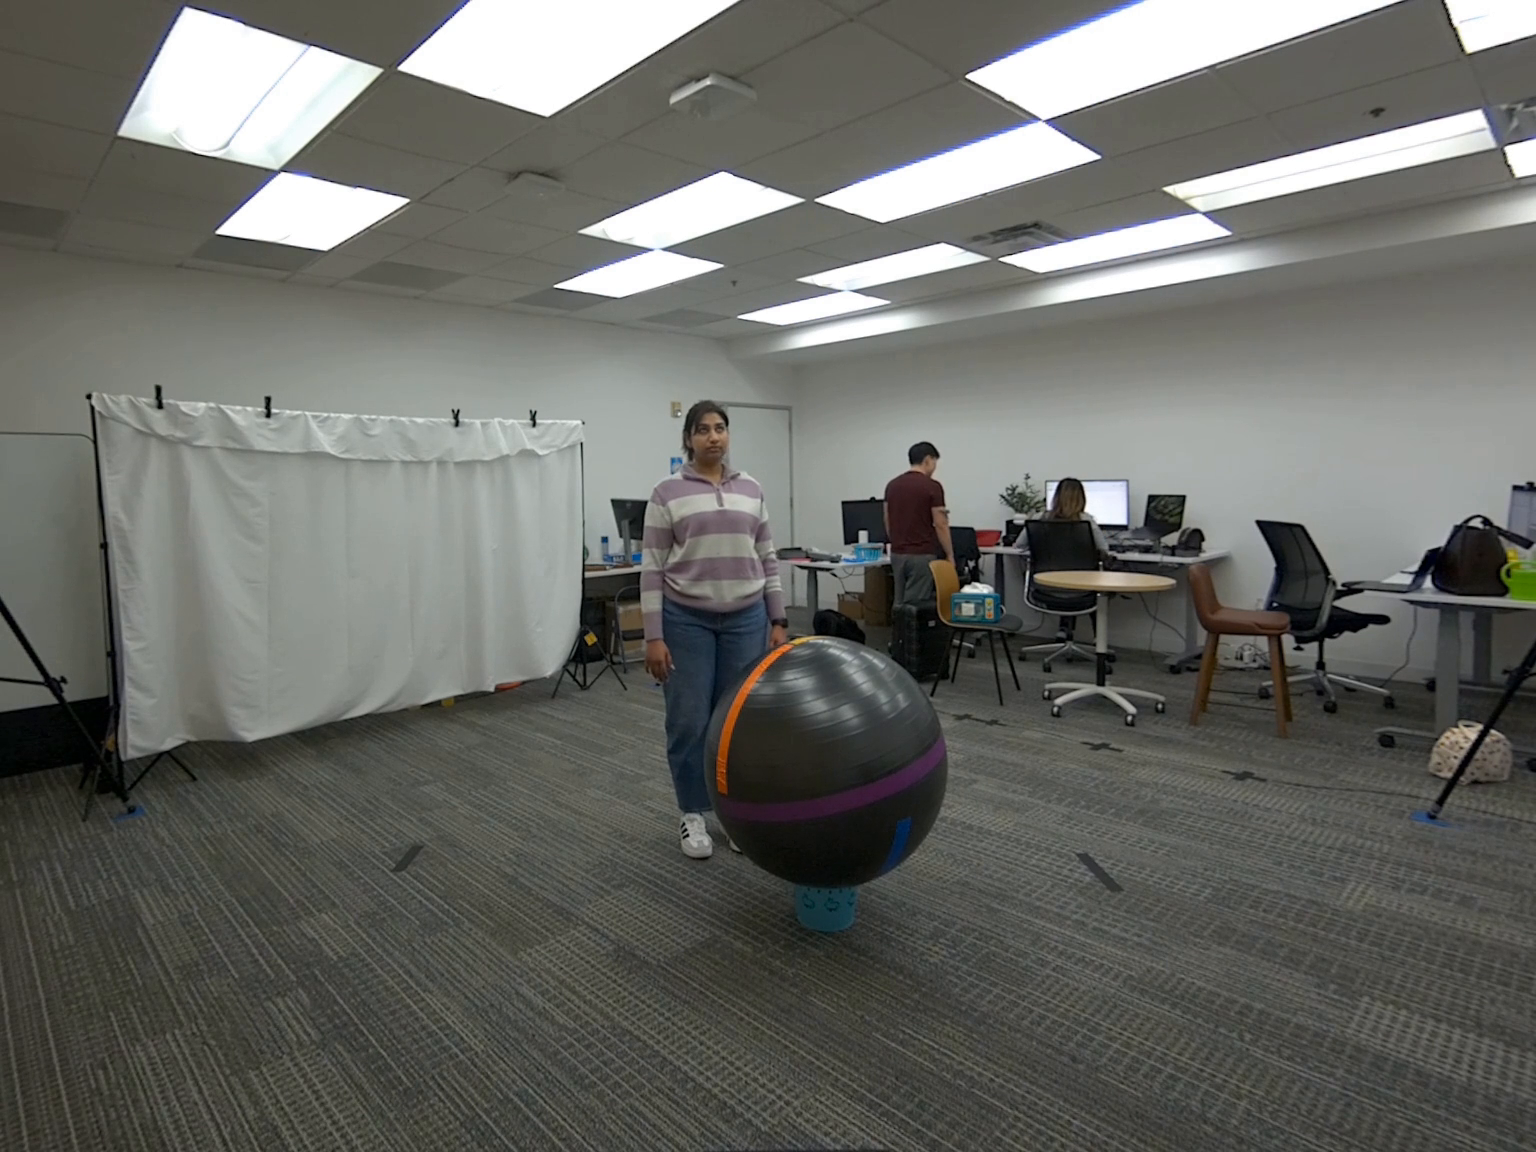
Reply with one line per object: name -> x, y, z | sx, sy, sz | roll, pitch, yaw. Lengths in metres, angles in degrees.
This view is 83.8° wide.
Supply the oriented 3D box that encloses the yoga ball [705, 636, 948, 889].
yoga ball -> 0.188, 0.583, 2.672 | 0.757, 0.755, 0.762 | -1, 5, -2
